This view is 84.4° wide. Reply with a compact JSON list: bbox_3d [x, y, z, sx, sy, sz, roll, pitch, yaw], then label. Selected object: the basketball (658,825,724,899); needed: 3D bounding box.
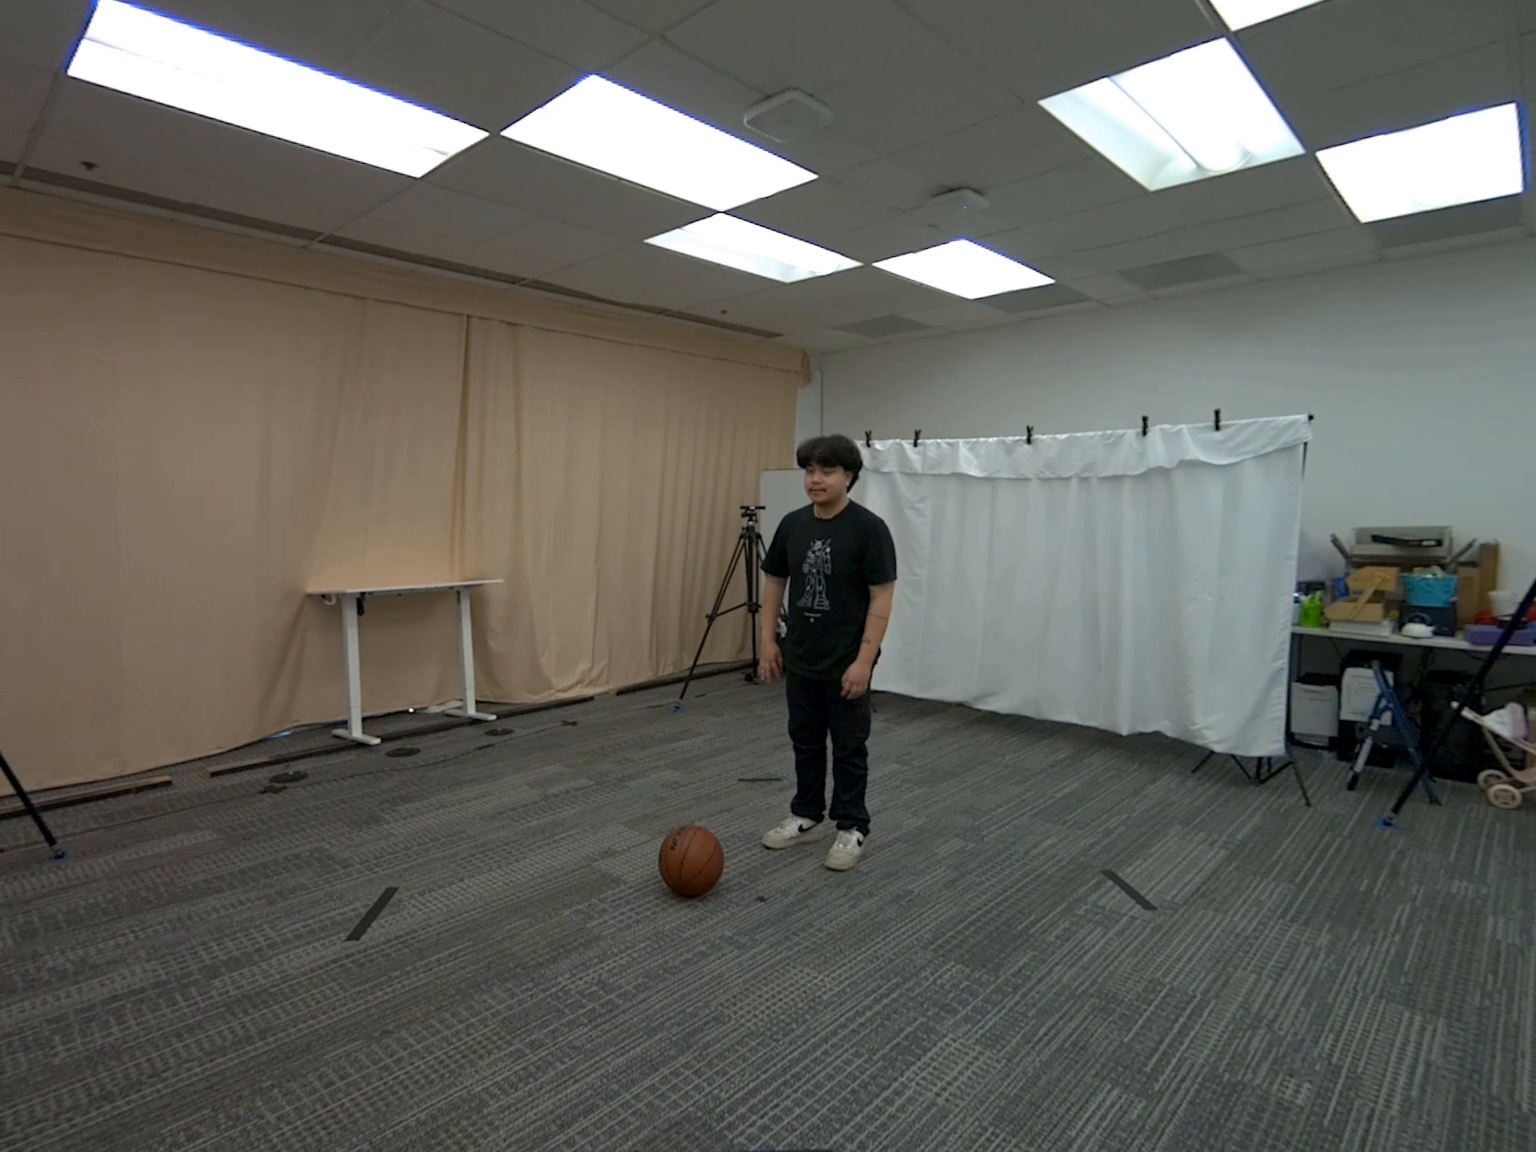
[{"bbox_3d":[-0.272,1.021,3.029,0.236,0.235,0.237,0,4,-2],"label":"basketball"}]
